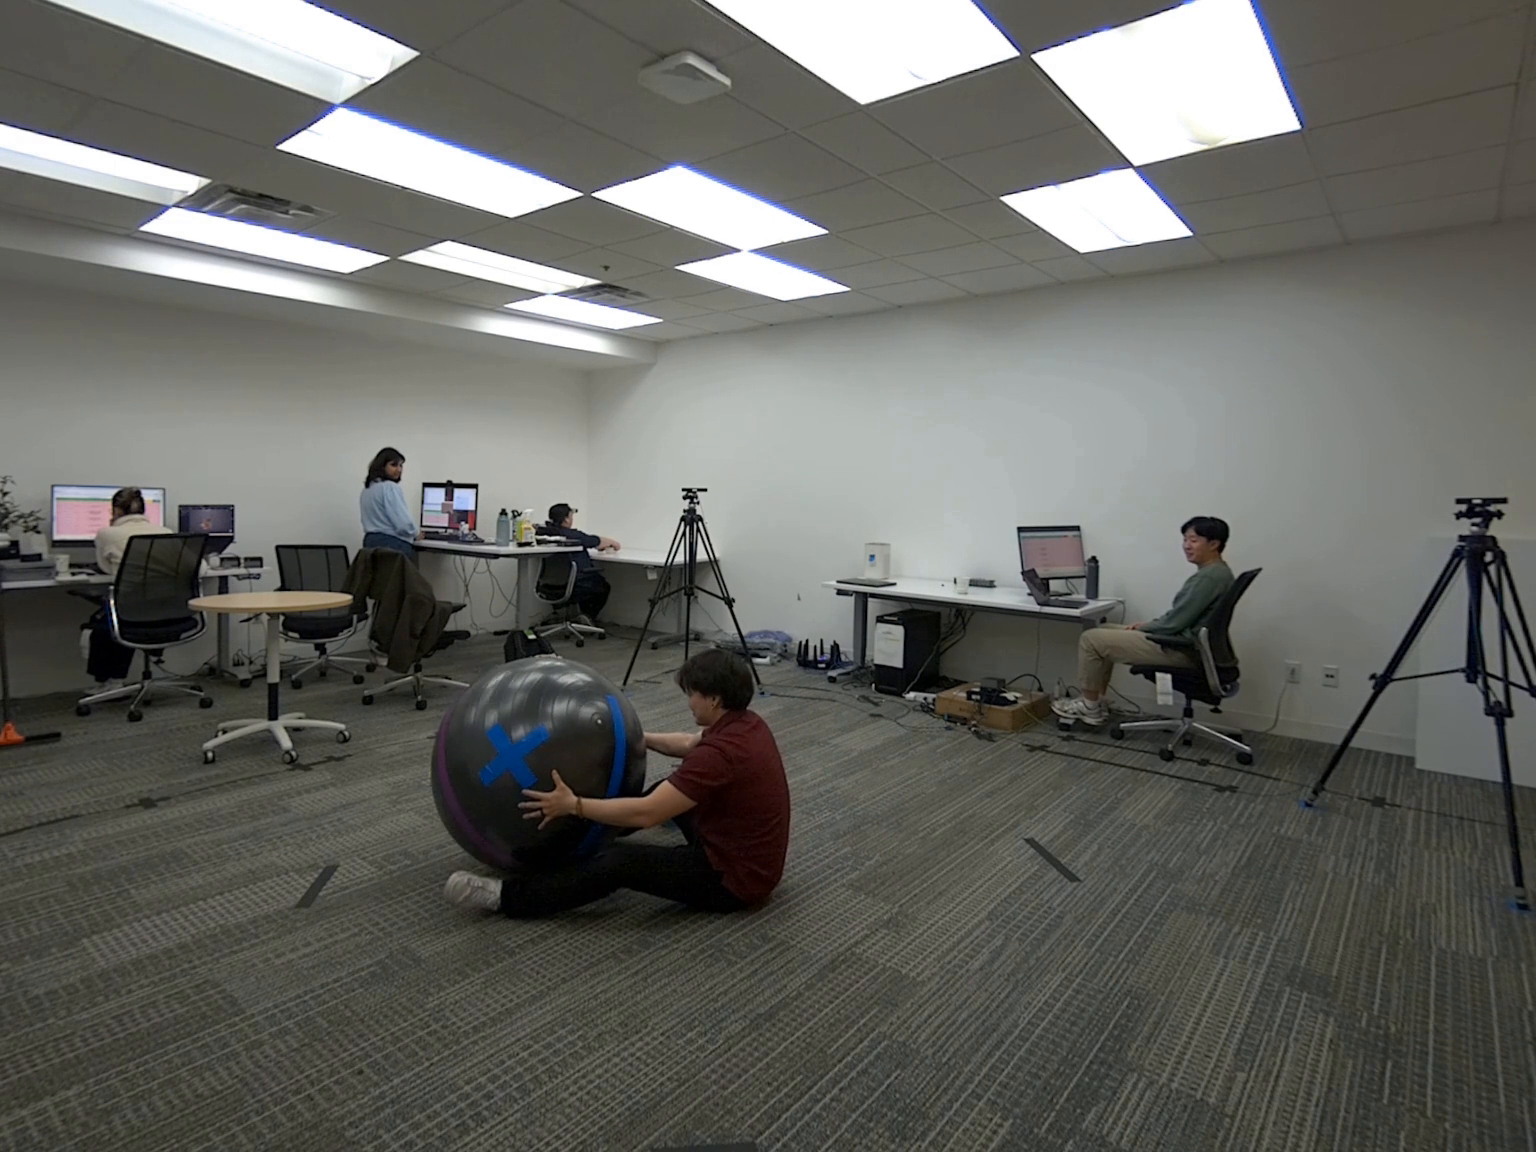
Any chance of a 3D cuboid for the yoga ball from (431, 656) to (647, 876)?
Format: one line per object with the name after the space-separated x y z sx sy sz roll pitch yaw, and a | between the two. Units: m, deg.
-0.834 0.660 3.066 0.757 0.755 0.762 1 4 -2 | yoga ball
